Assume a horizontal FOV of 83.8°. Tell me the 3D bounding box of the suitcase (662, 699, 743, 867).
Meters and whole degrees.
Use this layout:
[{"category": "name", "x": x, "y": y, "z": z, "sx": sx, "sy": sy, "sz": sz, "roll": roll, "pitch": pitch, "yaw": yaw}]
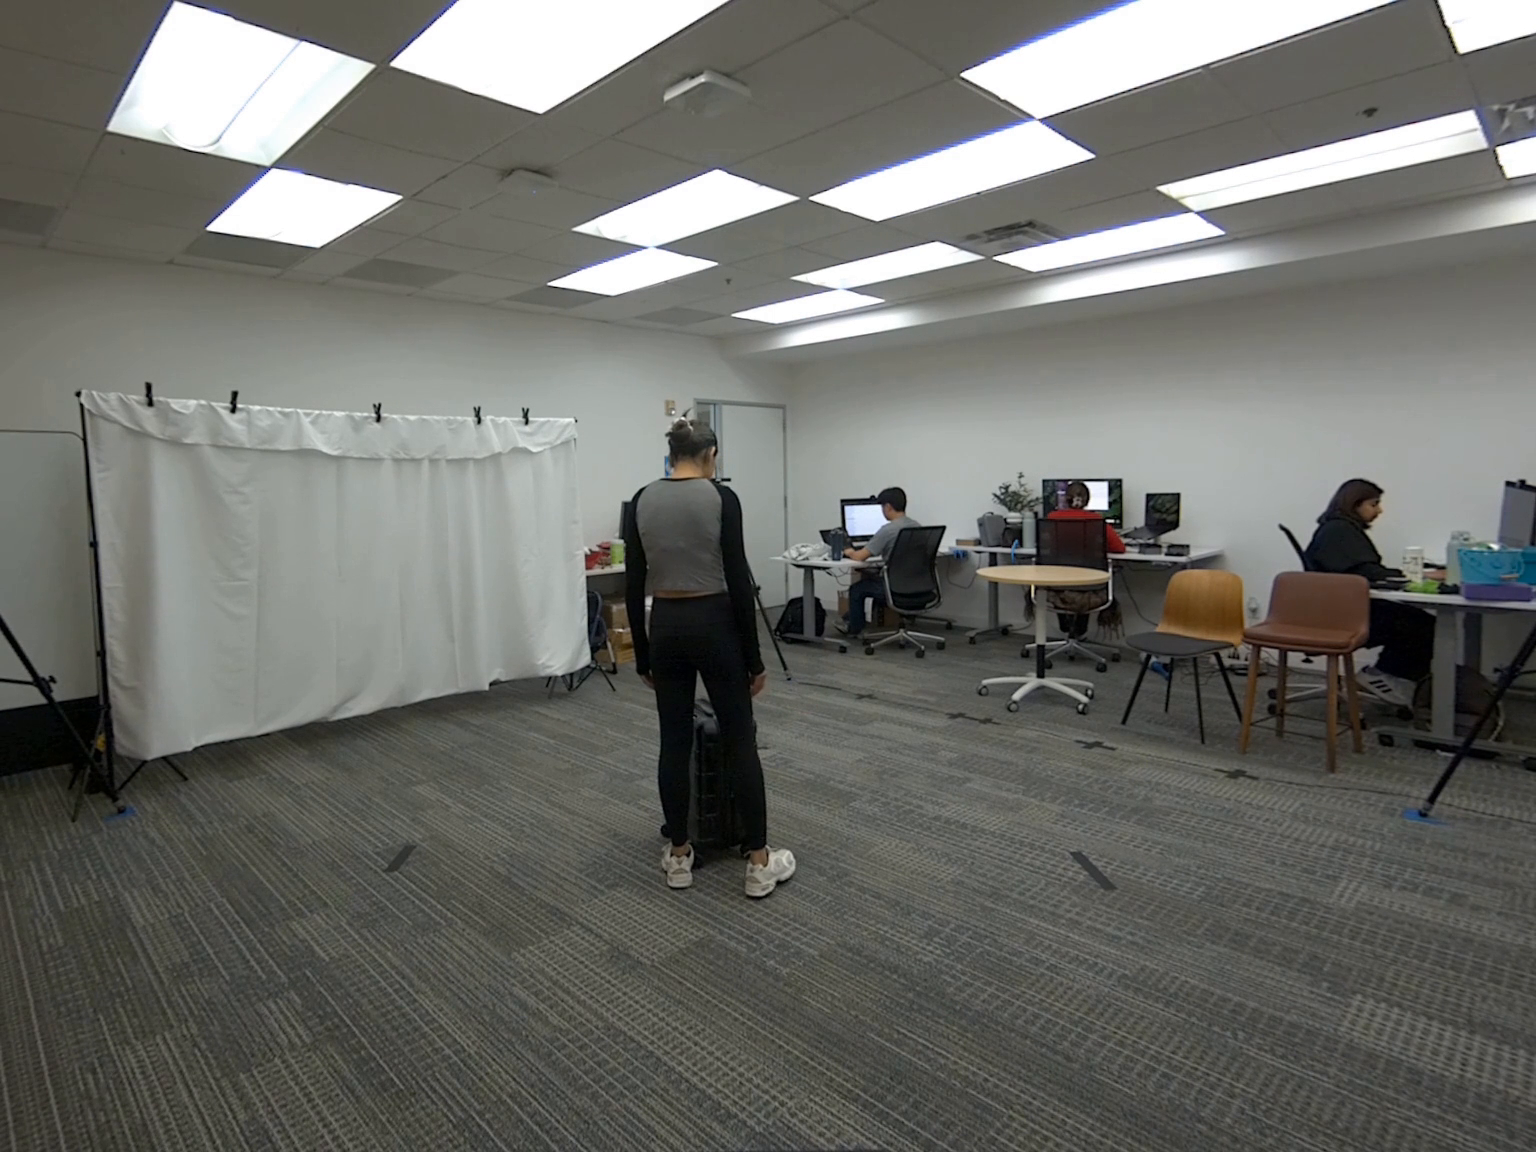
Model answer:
[{"category": "suitcase", "x": -0.212, "y": 0.751, "z": 3.242, "sx": 0.243, "sy": 0.547, "sz": 0.384, "roll": -2, "pitch": 4, "yaw": -24}]
